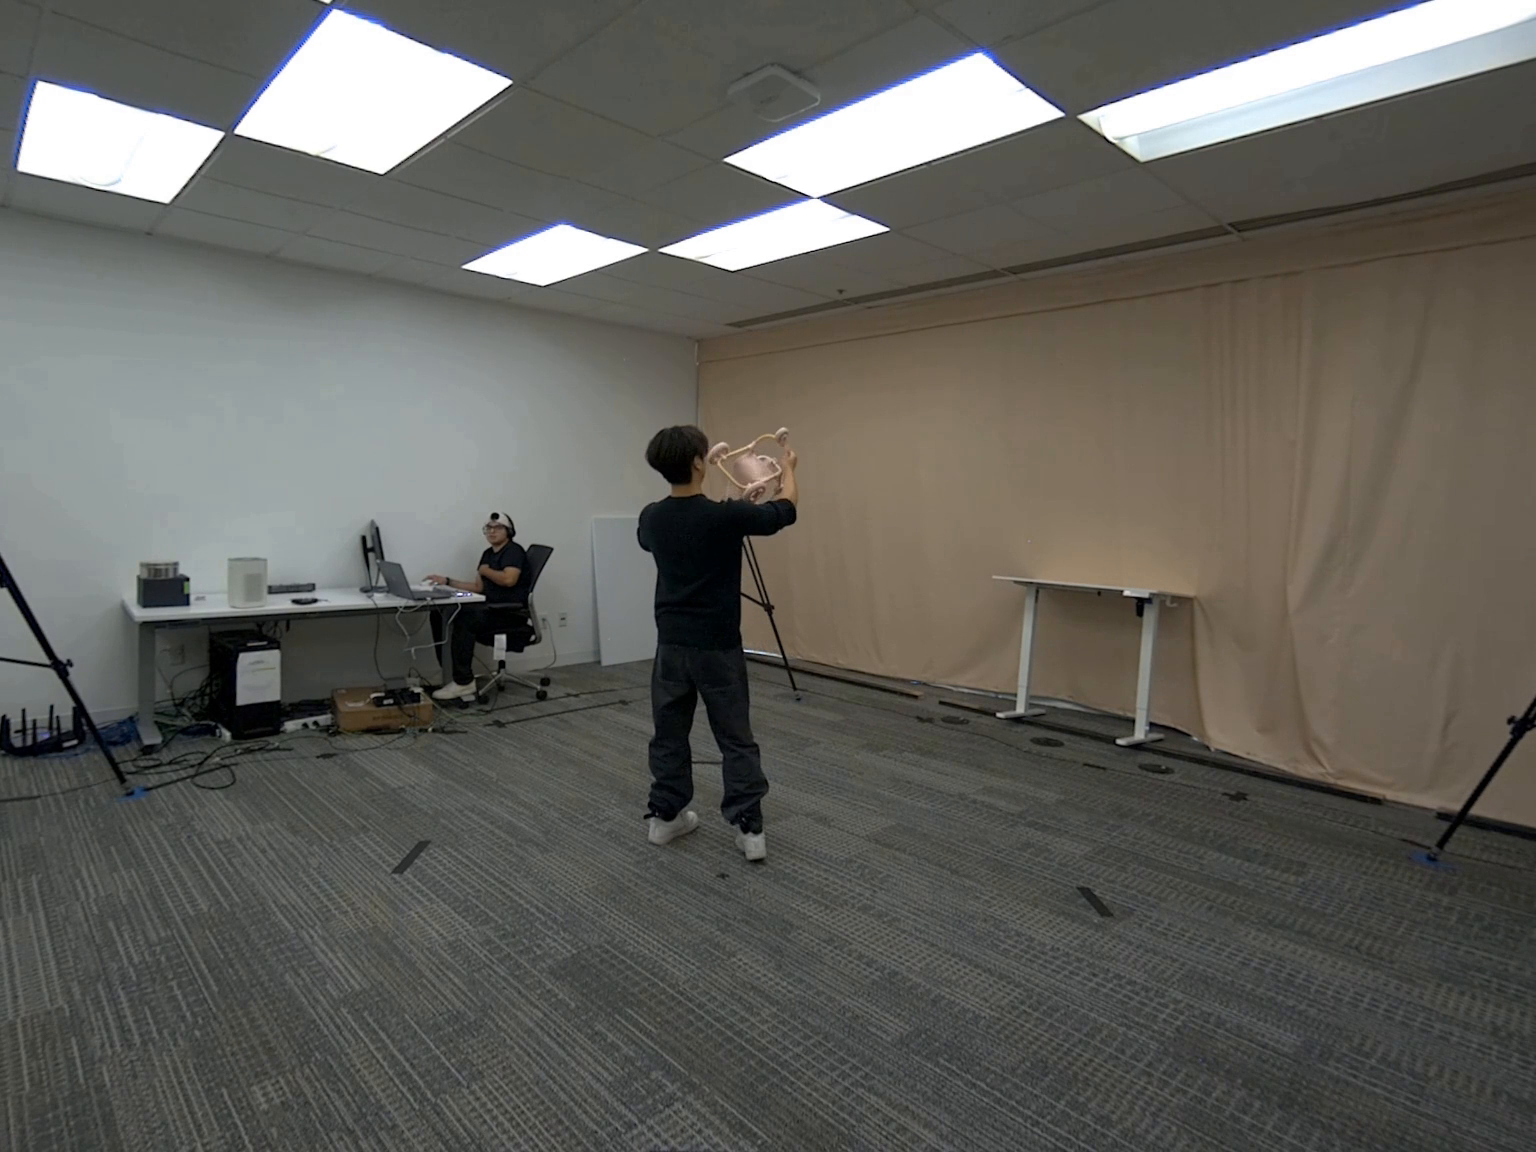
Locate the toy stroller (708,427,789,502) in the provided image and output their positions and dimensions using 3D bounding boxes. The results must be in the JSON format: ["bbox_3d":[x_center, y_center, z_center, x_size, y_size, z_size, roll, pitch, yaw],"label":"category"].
[{"bbox_3d":[-0.081,-0.410,3.710,0.339,0.287,0.526,-37,-21,-27],"label":"toy stroller"}]
